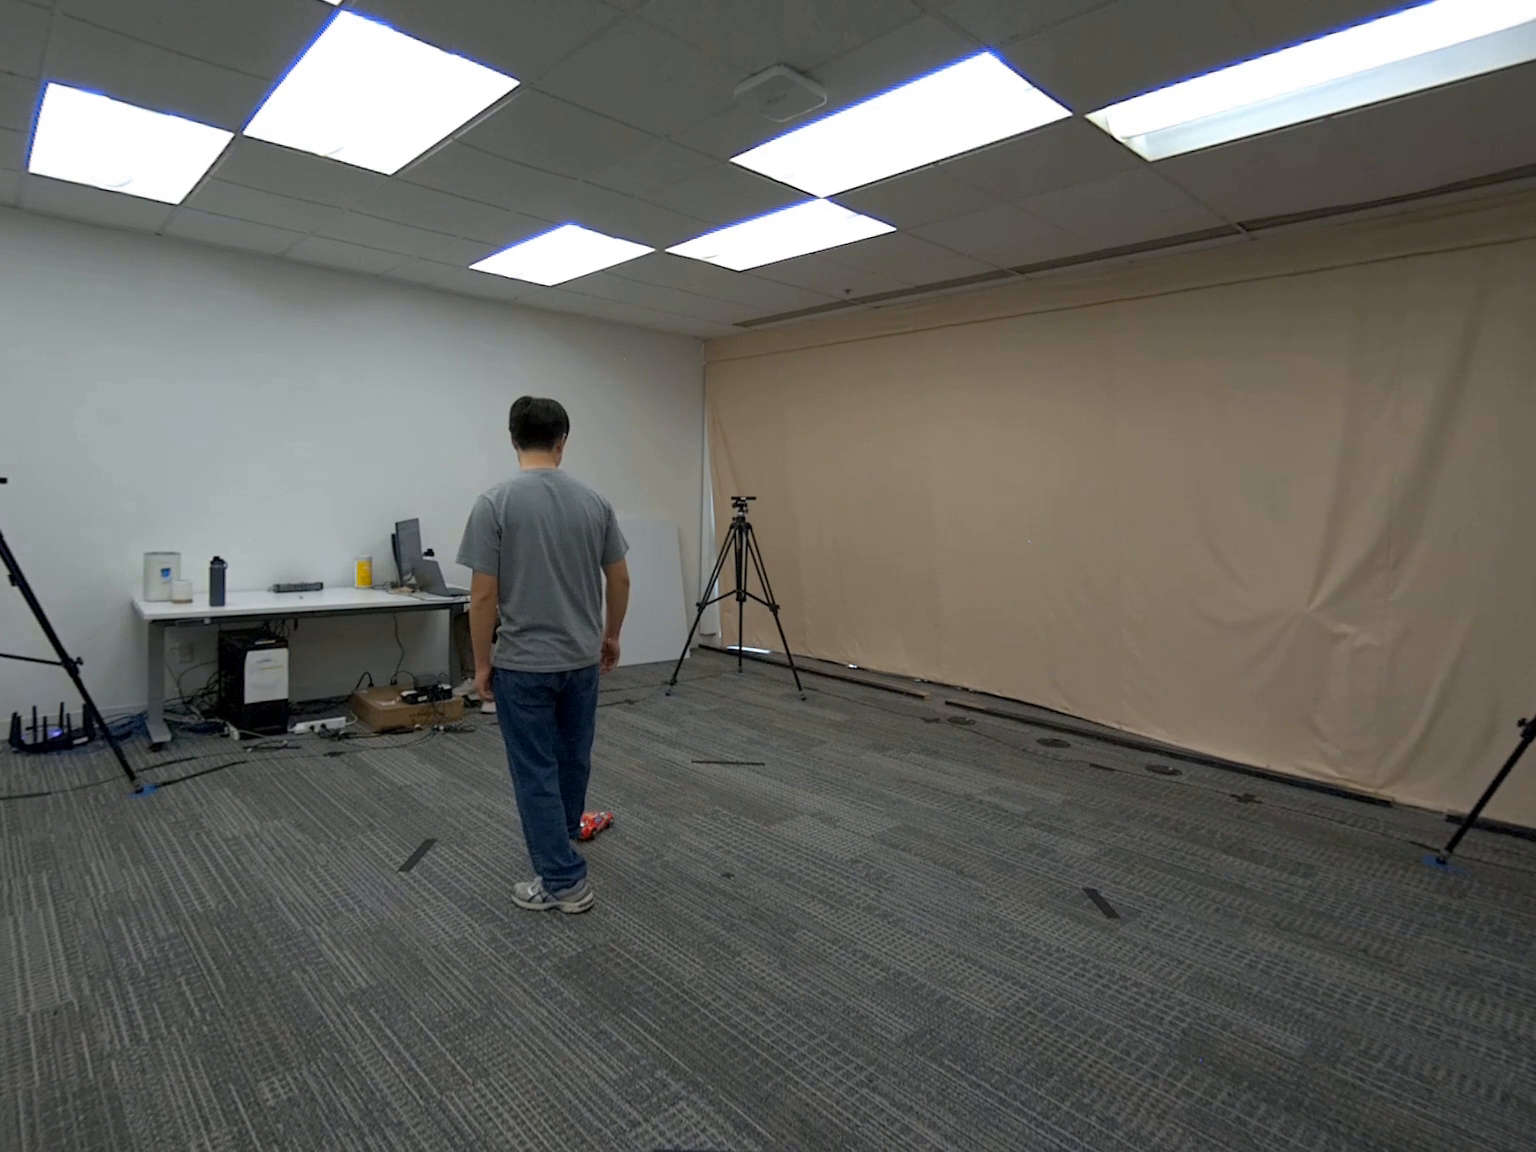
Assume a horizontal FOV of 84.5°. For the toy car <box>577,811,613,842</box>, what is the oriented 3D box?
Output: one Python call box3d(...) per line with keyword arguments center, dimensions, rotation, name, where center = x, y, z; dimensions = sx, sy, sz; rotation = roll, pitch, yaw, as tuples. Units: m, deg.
box3d(center=(-0.752, 1.029, 3.461), dimensions=(0.132, 0.083, 0.249), rotation=(3, -6, 20), name="toy car")
